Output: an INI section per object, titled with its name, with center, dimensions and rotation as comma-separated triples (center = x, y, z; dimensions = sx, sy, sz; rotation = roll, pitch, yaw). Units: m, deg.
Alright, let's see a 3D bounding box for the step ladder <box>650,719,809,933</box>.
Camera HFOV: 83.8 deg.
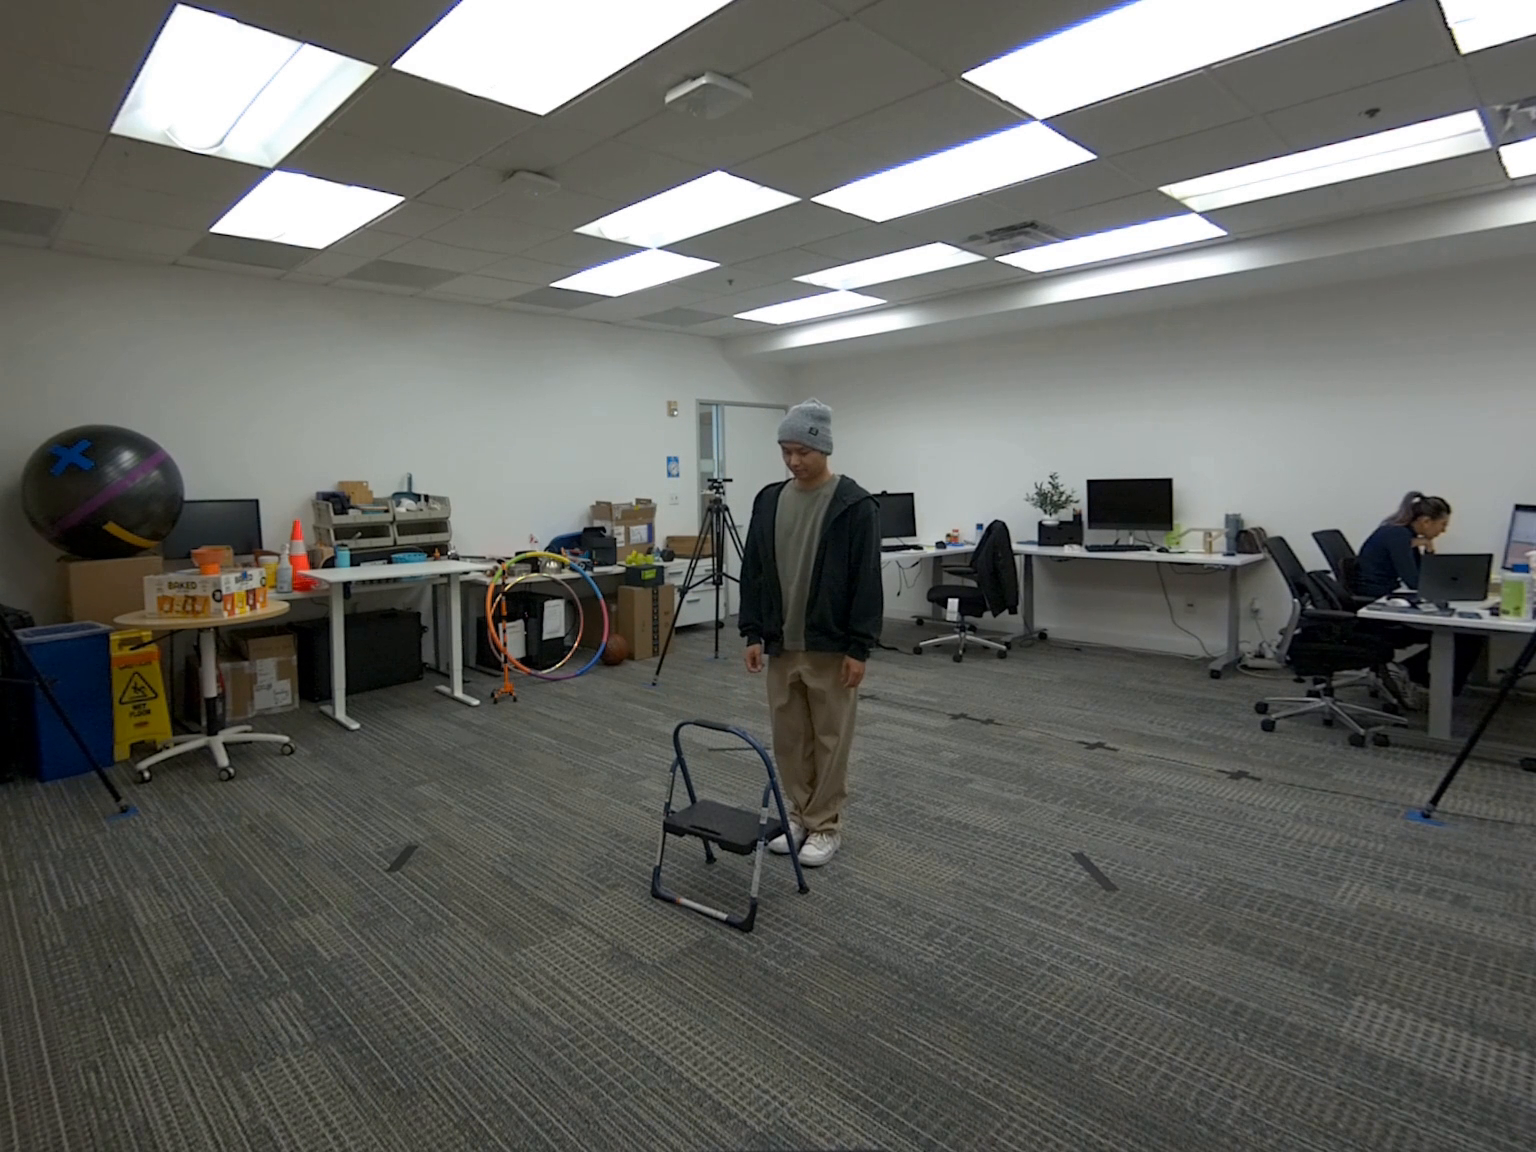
[step ladder]
center = -0.135, 0.770, 2.864
dimensions = 0.443, 0.604, 0.341
rotation = 2, 5, 35
